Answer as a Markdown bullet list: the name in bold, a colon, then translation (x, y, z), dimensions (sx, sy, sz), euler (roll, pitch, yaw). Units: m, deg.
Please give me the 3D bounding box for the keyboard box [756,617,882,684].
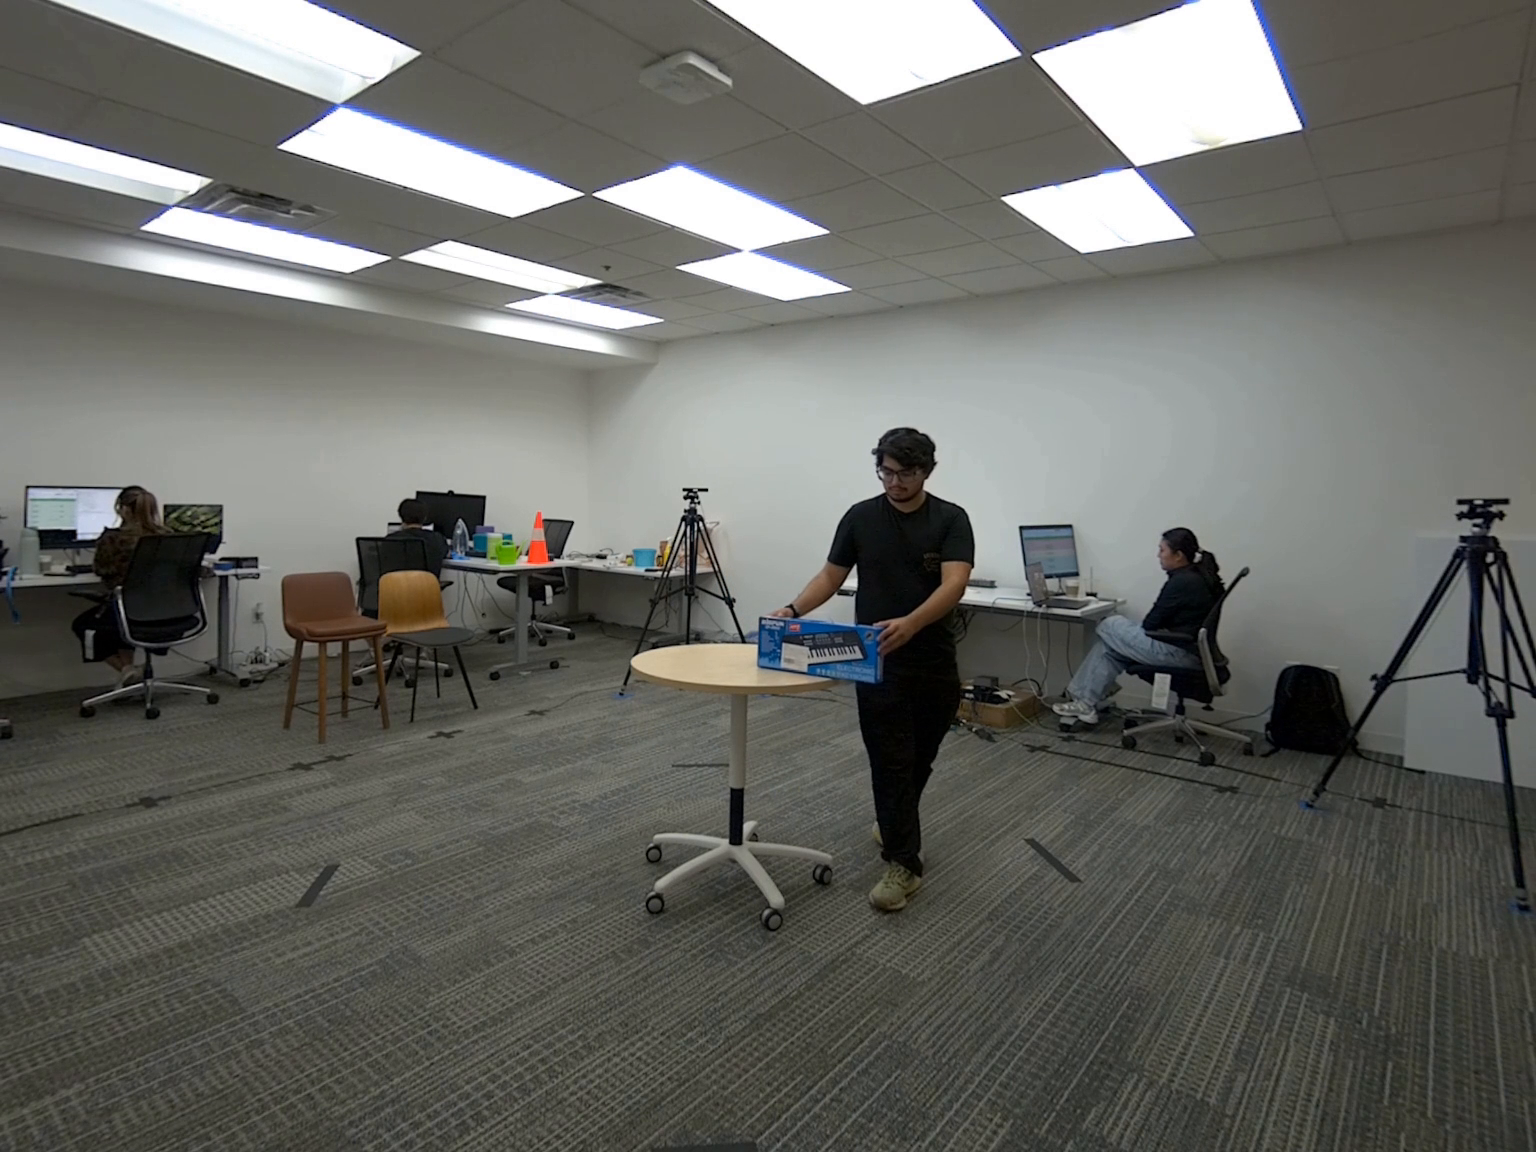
- **keyboard box**: translation (0.158, 0.237, 2.795), dimensions (0.450, 0.176, 0.057), euler (3, 0, 33)
